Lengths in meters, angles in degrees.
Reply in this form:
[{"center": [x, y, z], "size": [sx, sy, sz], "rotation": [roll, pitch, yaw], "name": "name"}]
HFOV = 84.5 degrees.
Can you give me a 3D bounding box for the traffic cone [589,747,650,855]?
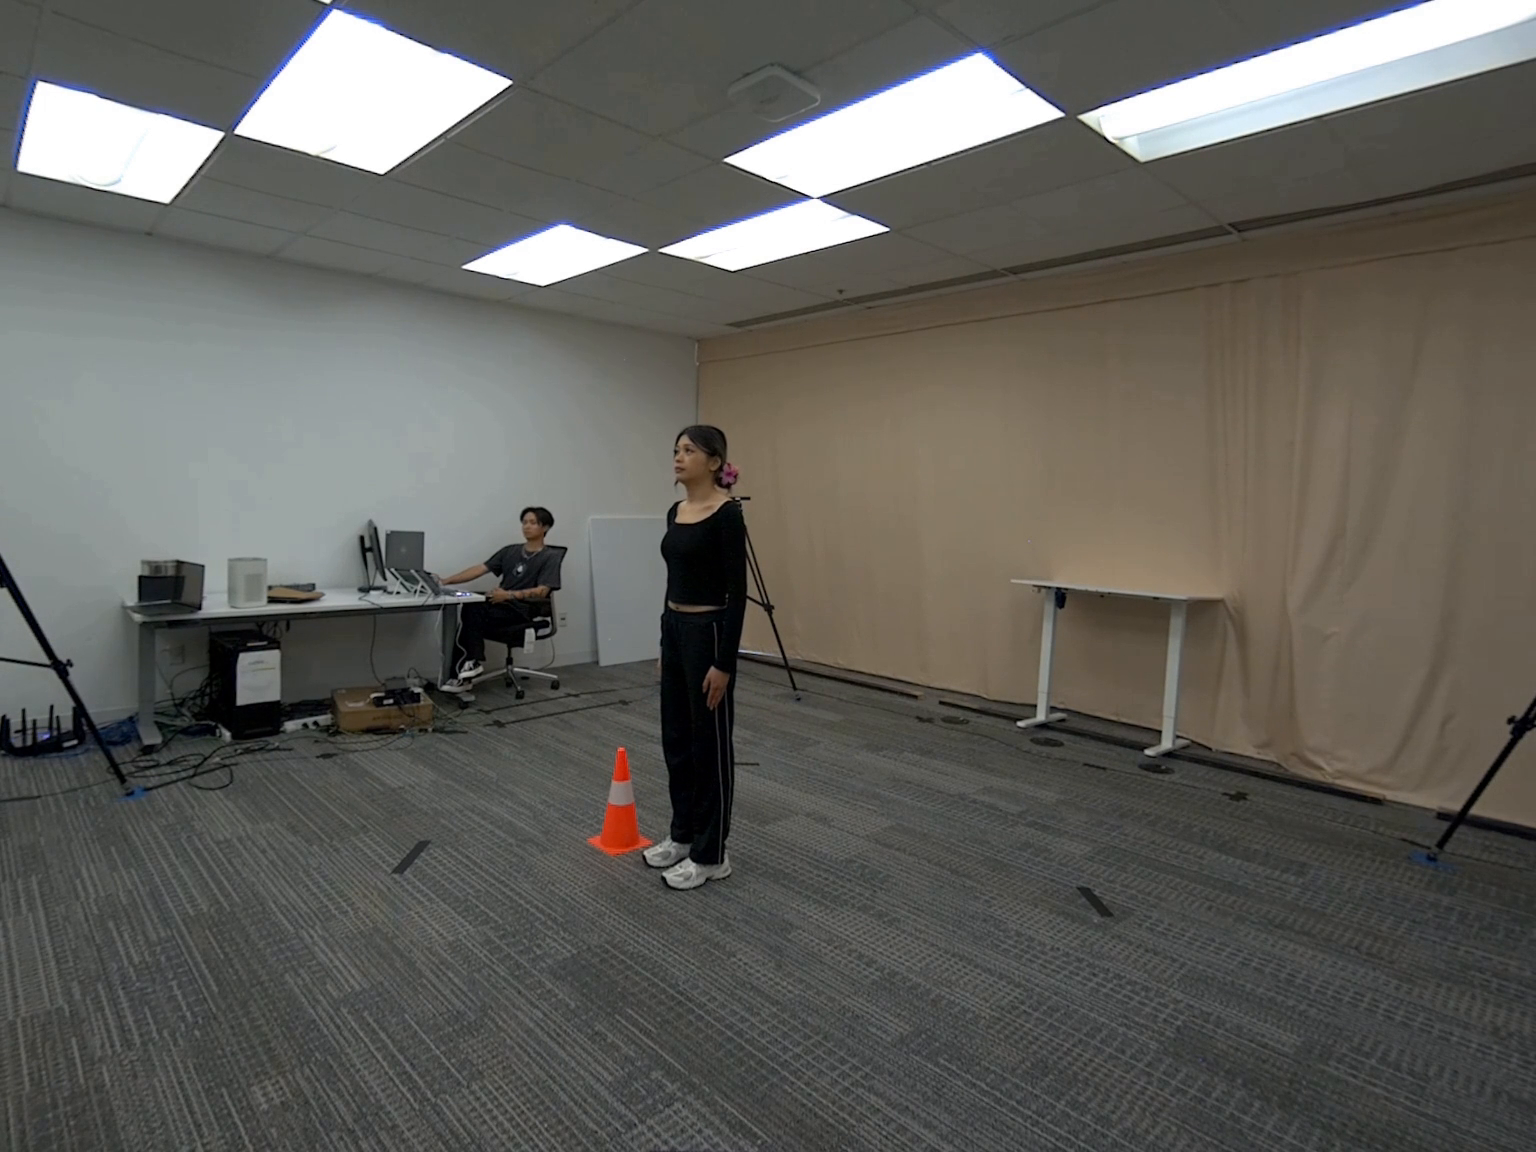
[{"center": [-0.601, 0.883, 3.380], "size": [0.201, 0.383, 0.208], "rotation": [0, 3, -30], "name": "traffic cone"}]
